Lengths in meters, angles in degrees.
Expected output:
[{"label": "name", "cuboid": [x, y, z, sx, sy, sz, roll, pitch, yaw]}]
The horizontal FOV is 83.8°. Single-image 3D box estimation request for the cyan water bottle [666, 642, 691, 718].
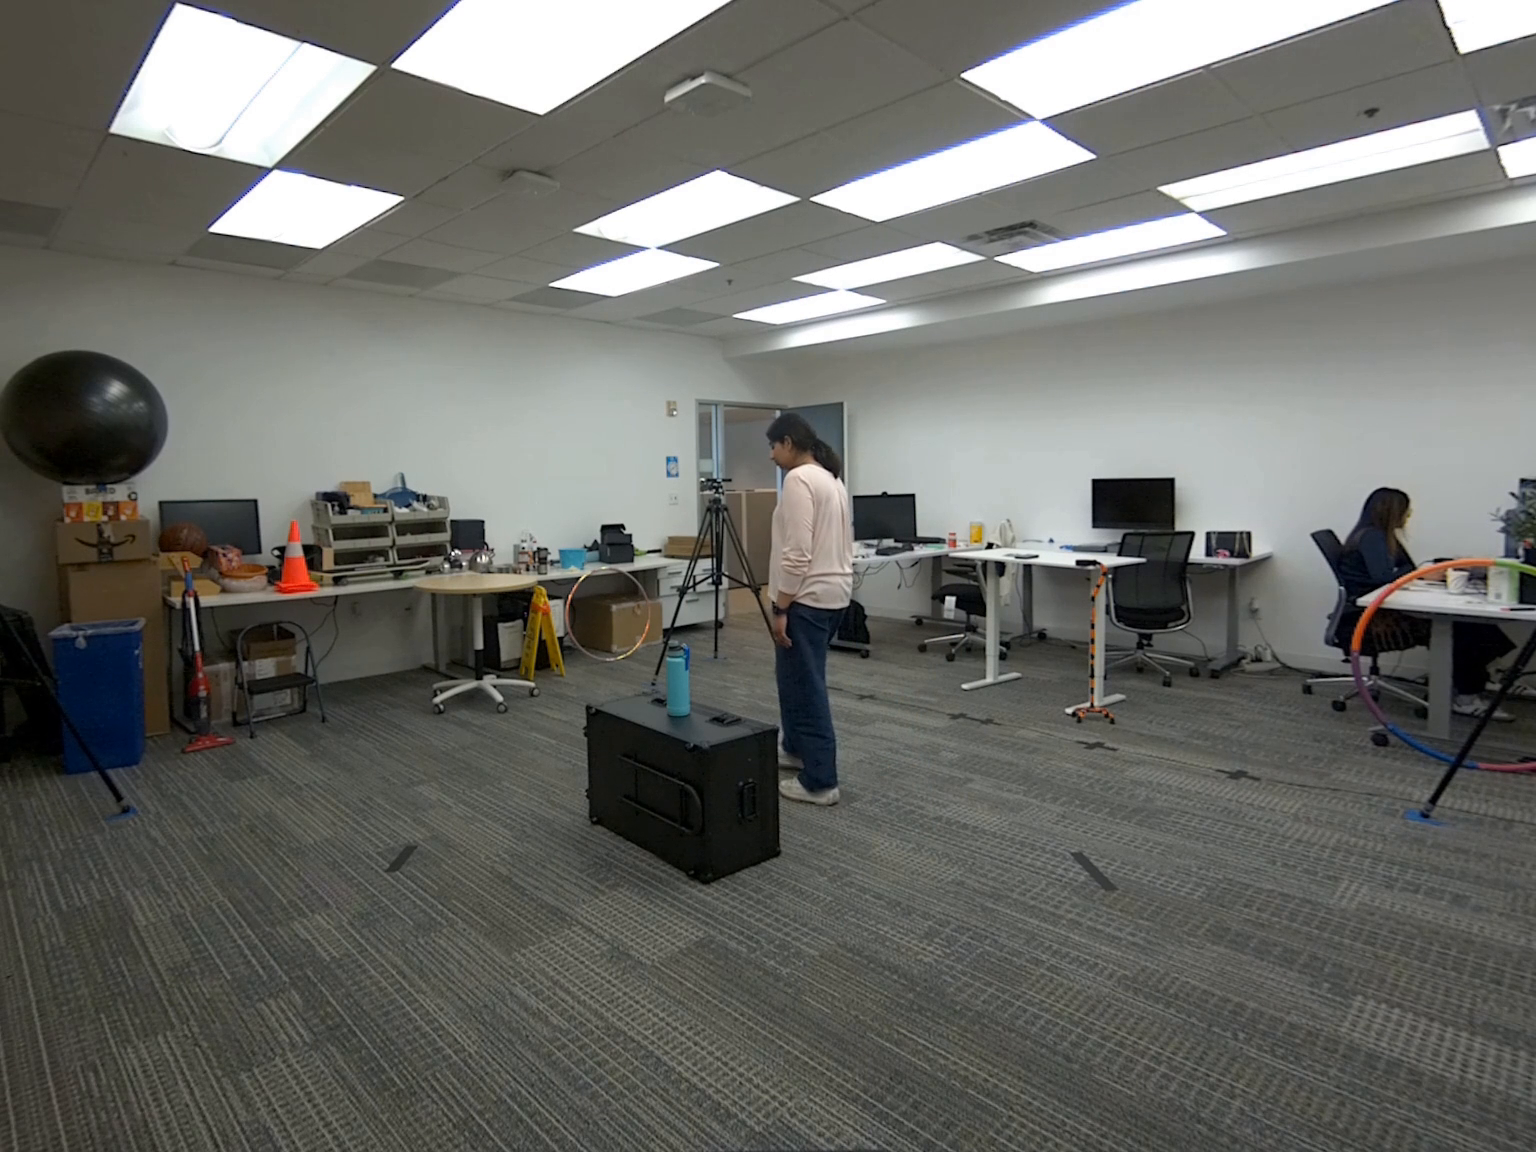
[{"label": "cyan water bottle", "cuboid": [-0.352, 0.400, 3.357, 0.092, 0.283, 0.092, 0, 3, -2]}]
